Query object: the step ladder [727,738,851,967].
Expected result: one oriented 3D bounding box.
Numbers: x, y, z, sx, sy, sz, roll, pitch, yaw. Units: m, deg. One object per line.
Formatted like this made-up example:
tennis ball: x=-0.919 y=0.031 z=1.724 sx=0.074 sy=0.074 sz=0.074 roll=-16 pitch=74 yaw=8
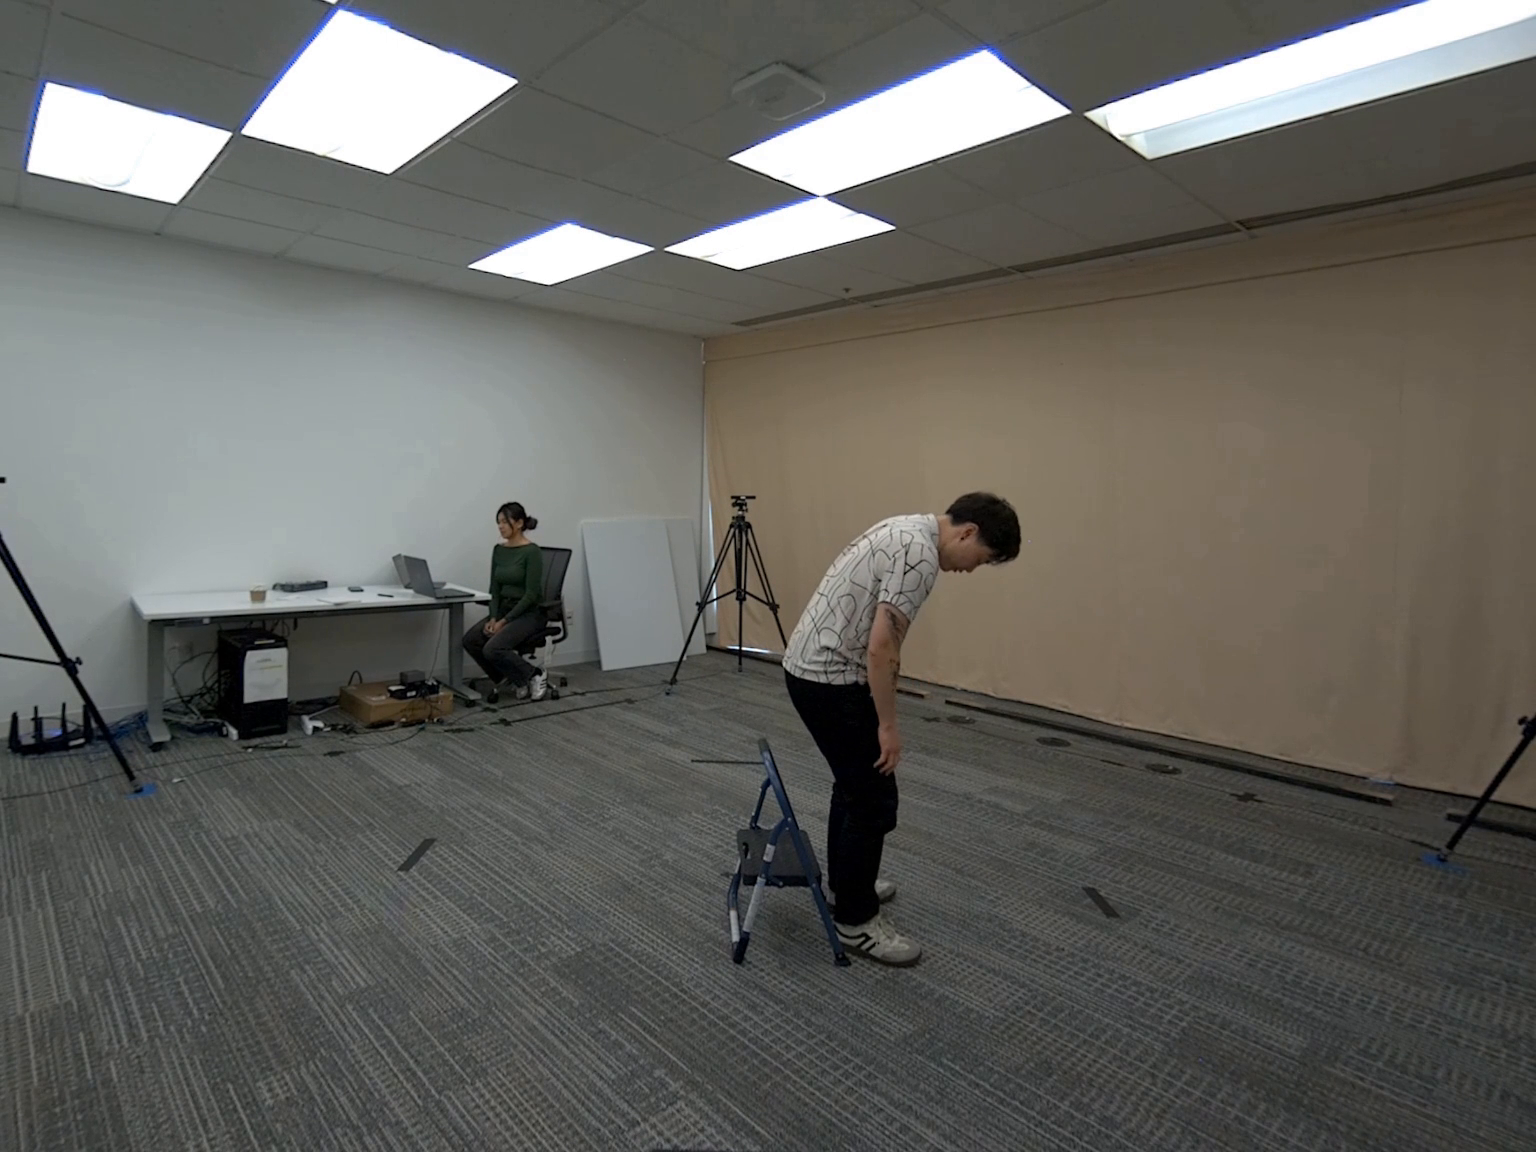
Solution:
step ladder: x=0.049 y=0.842 z=2.699 sx=0.348 sy=0.605 sz=0.433 roll=1 pitch=3 yaw=-6
